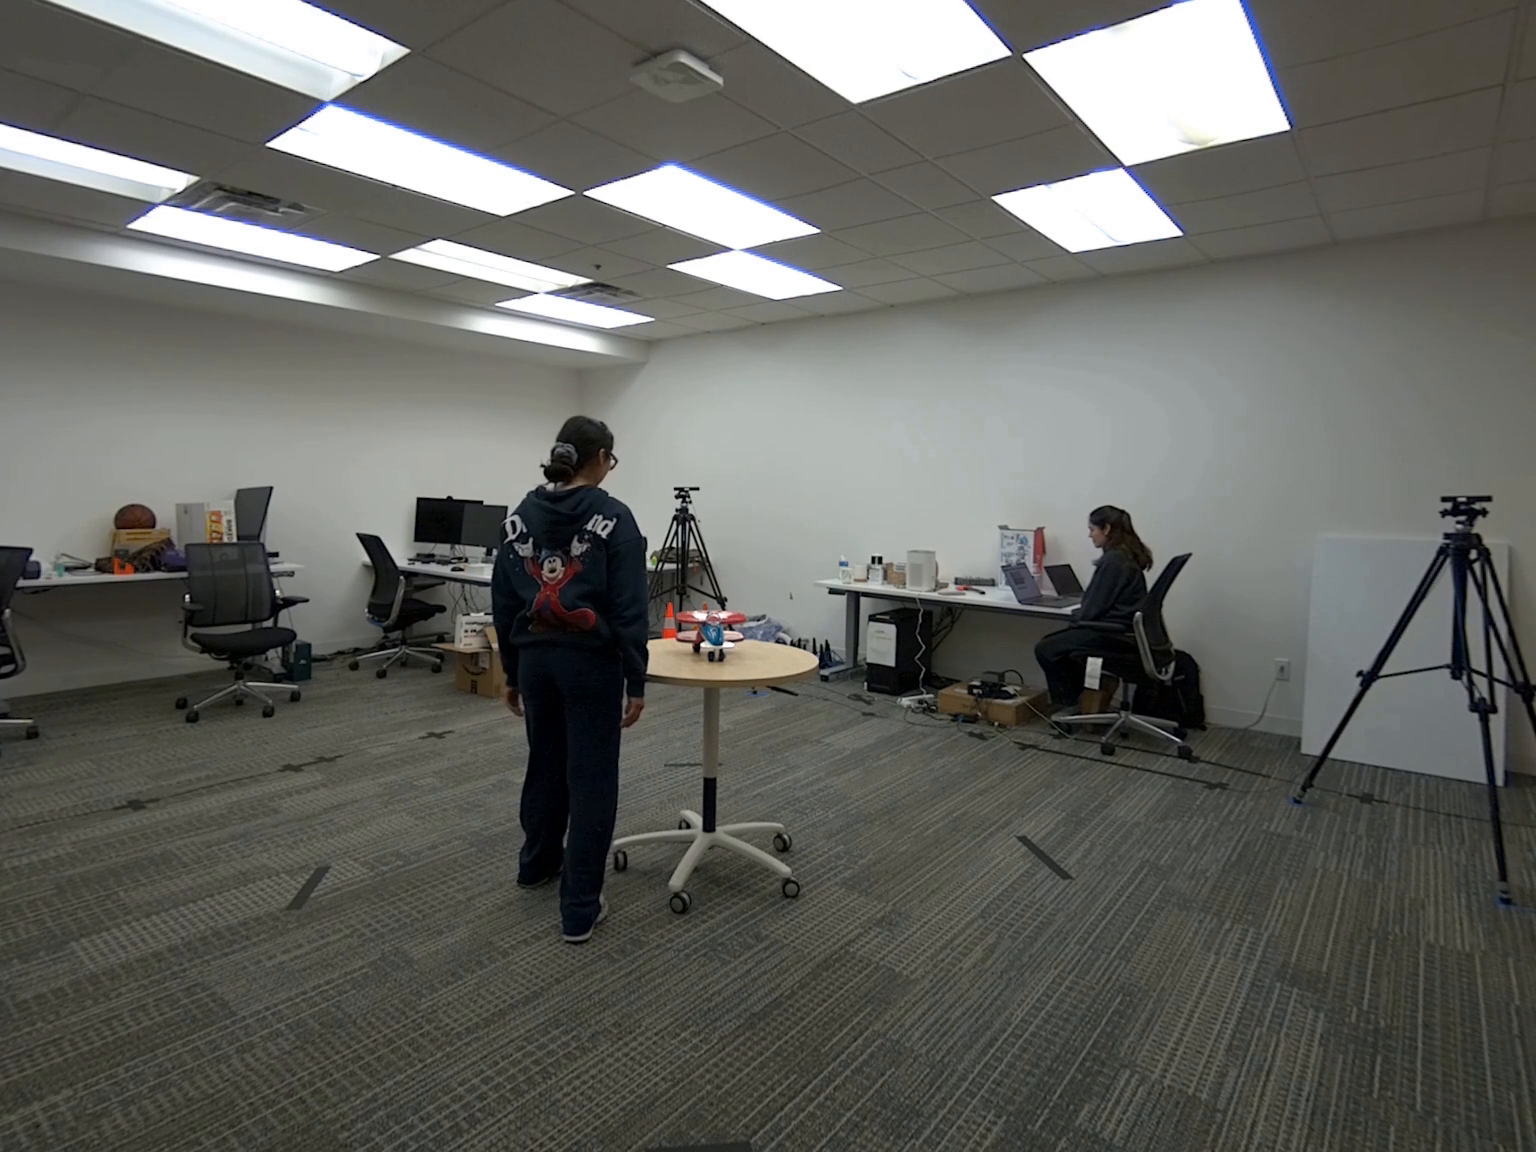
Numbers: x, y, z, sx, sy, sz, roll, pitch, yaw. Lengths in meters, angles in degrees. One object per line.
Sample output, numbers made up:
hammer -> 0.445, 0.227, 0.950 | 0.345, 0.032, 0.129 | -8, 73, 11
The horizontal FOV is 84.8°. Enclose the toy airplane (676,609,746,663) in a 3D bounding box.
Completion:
toy airplane -> -0.197, 0.213, 3.080 | 0.244, 0.156, 0.268 | -2, 6, -37
